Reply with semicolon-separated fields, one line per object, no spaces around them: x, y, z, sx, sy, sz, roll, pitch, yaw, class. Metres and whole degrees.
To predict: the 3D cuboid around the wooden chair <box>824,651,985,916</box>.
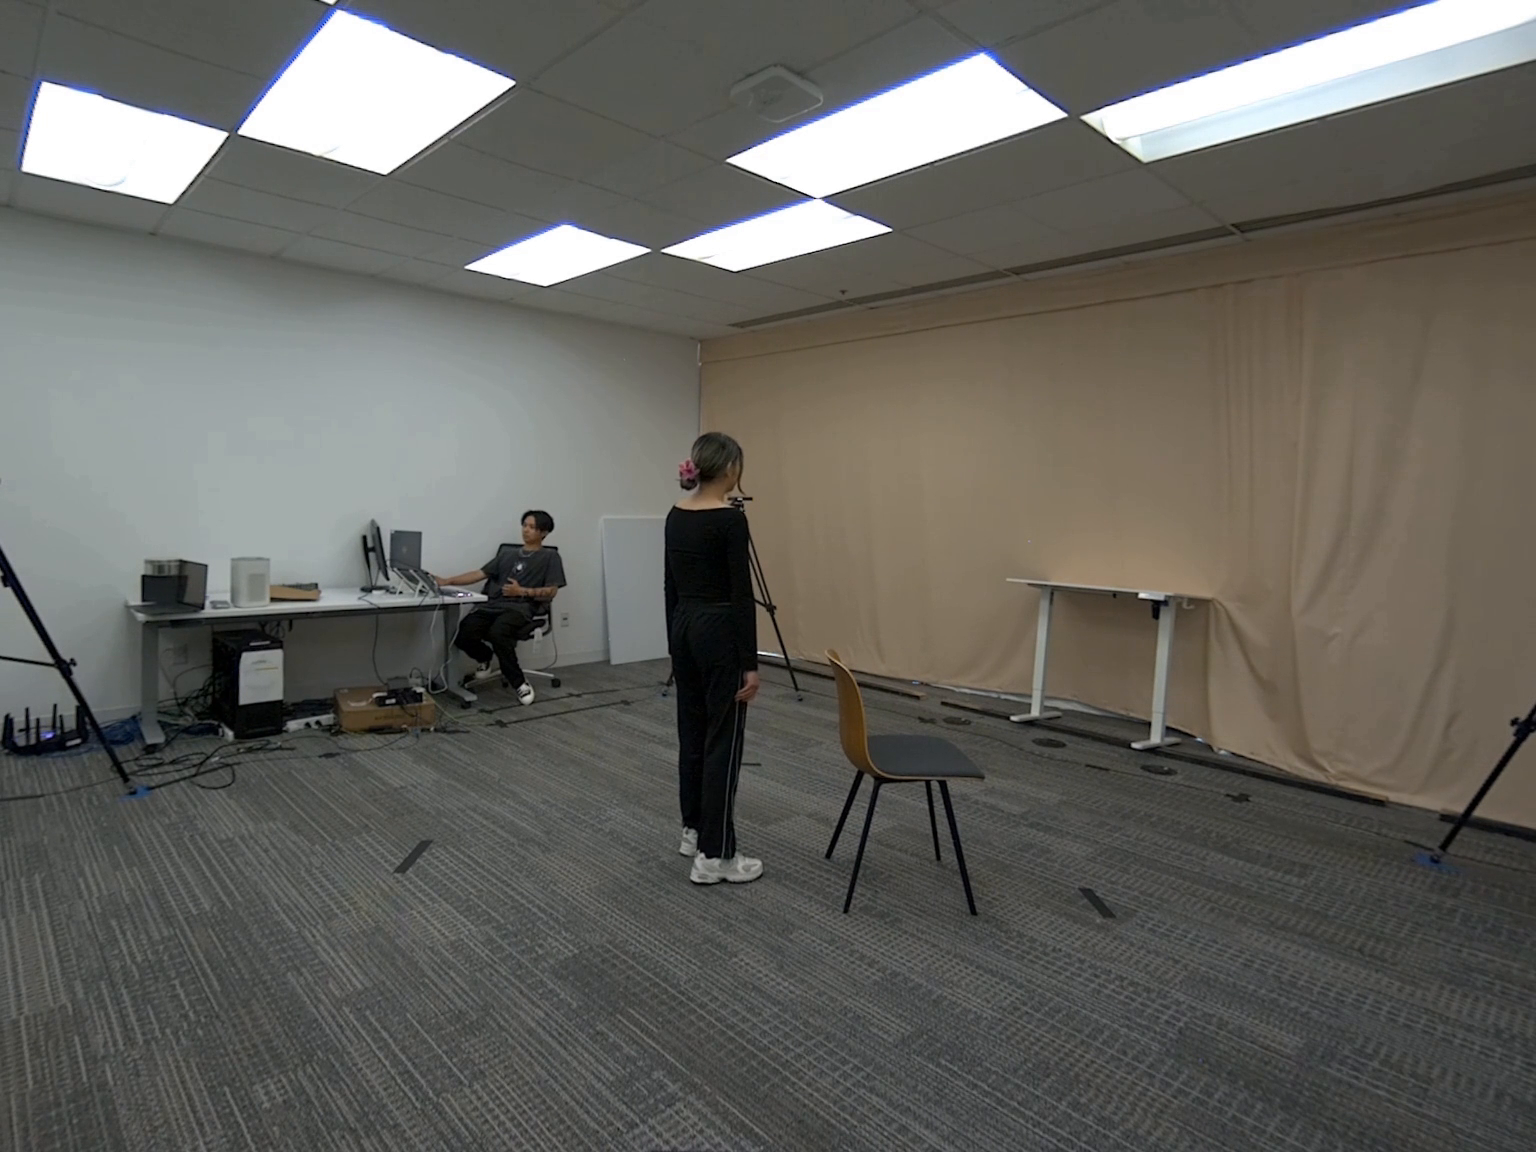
0.479;0.703;3.038;0.522;0.875;0.480;-2;3;-3;wooden chair
